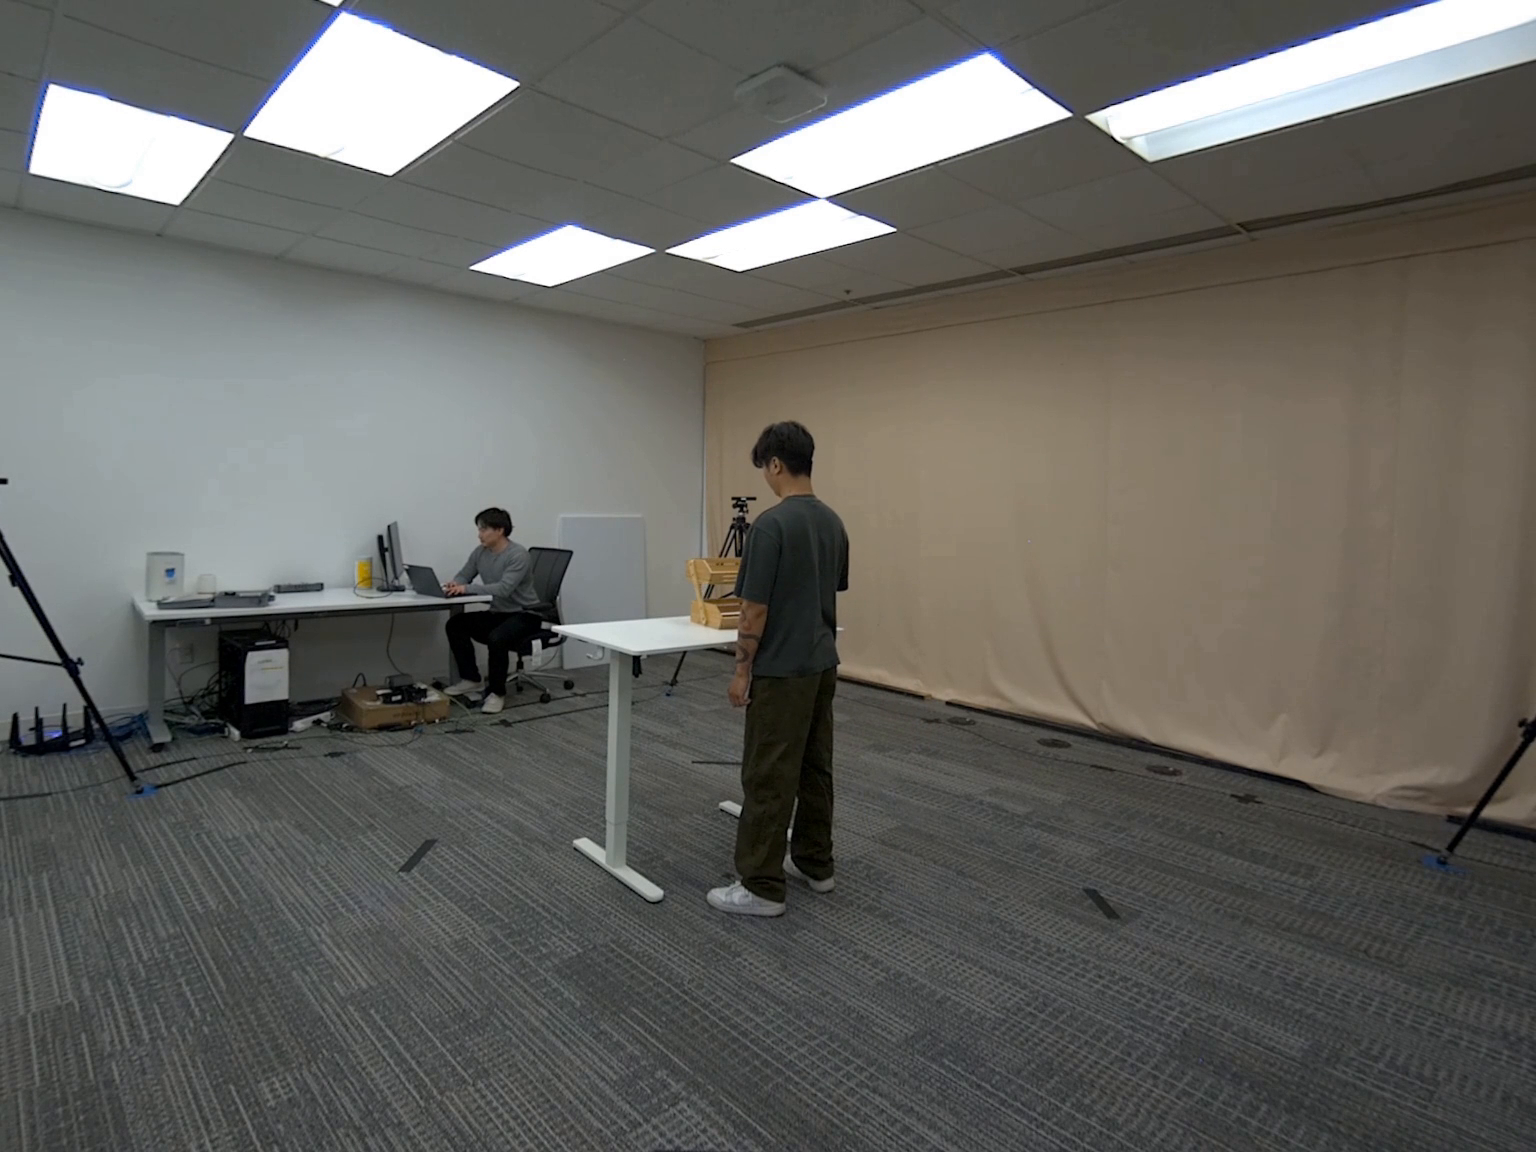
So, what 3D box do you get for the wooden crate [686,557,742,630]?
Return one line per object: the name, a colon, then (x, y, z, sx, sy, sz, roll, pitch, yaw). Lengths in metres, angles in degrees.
wooden crate: (-0.140, 0.060, 3.450, 0.318, 0.273, 0.309, -1, 4, -32)
